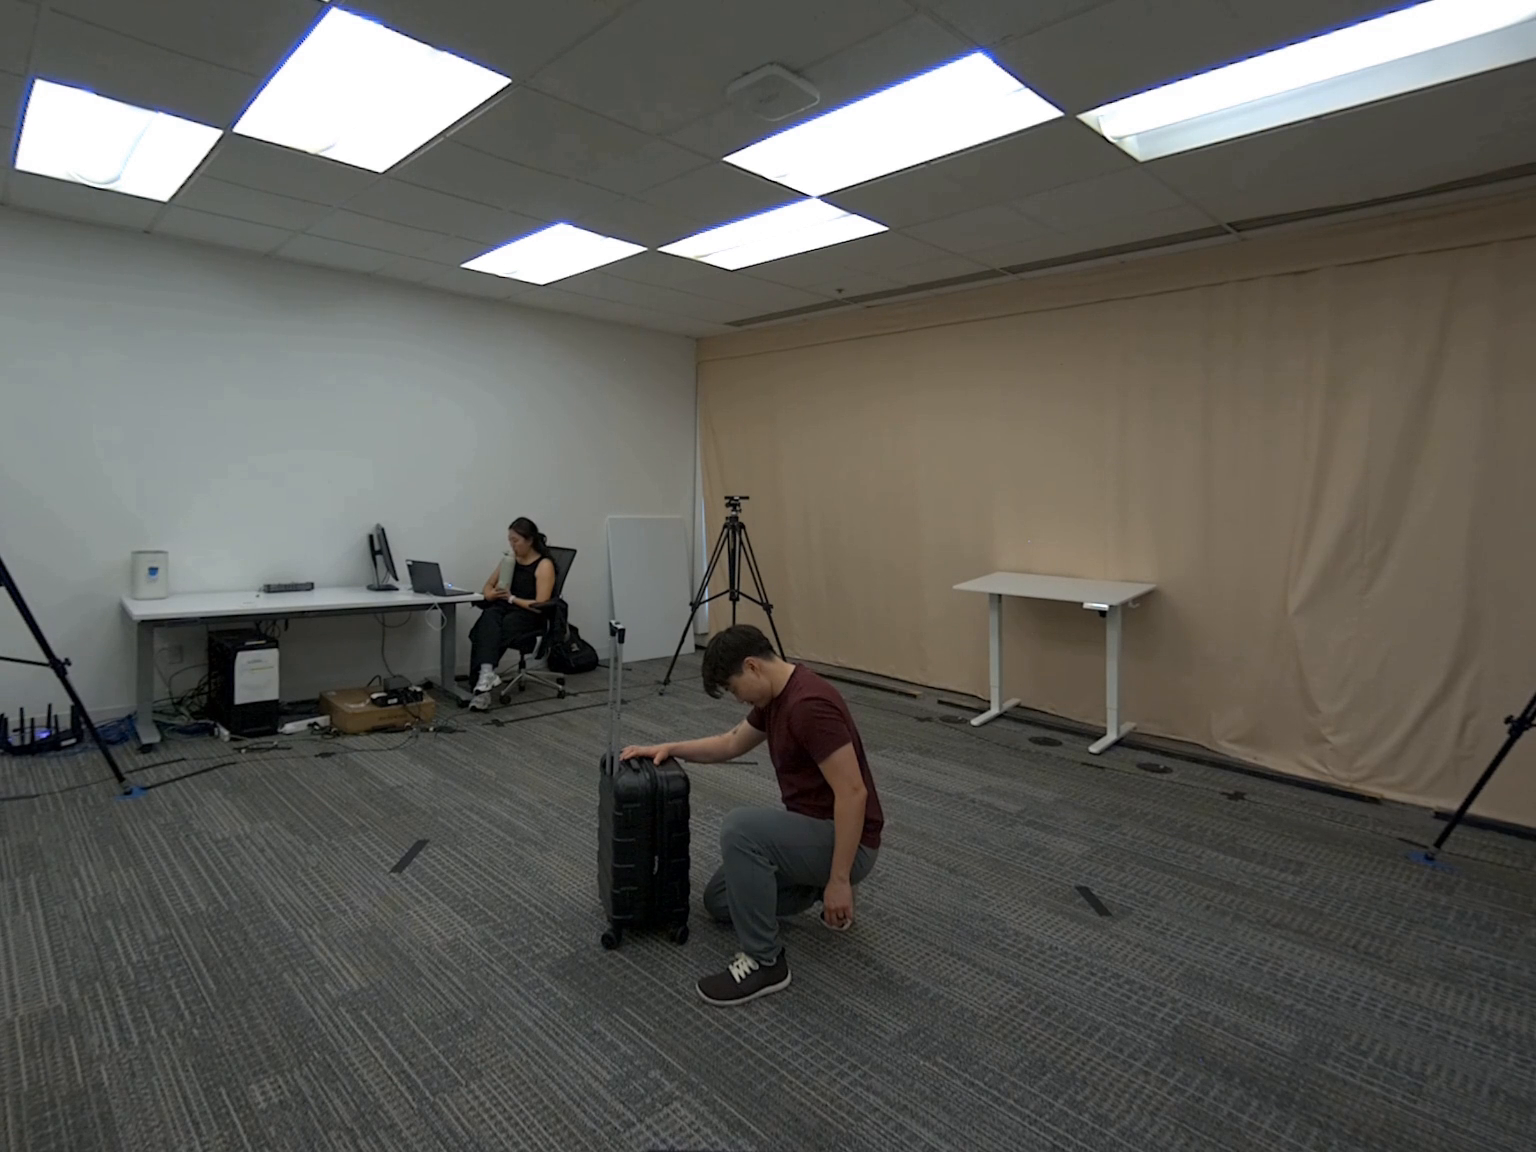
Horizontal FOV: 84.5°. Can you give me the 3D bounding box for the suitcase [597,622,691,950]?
[{"bbox_3d":[-0.405,0.648,2.733,0.254,0.976,0.389,1,4,-15],"label":"suitcase"}]
